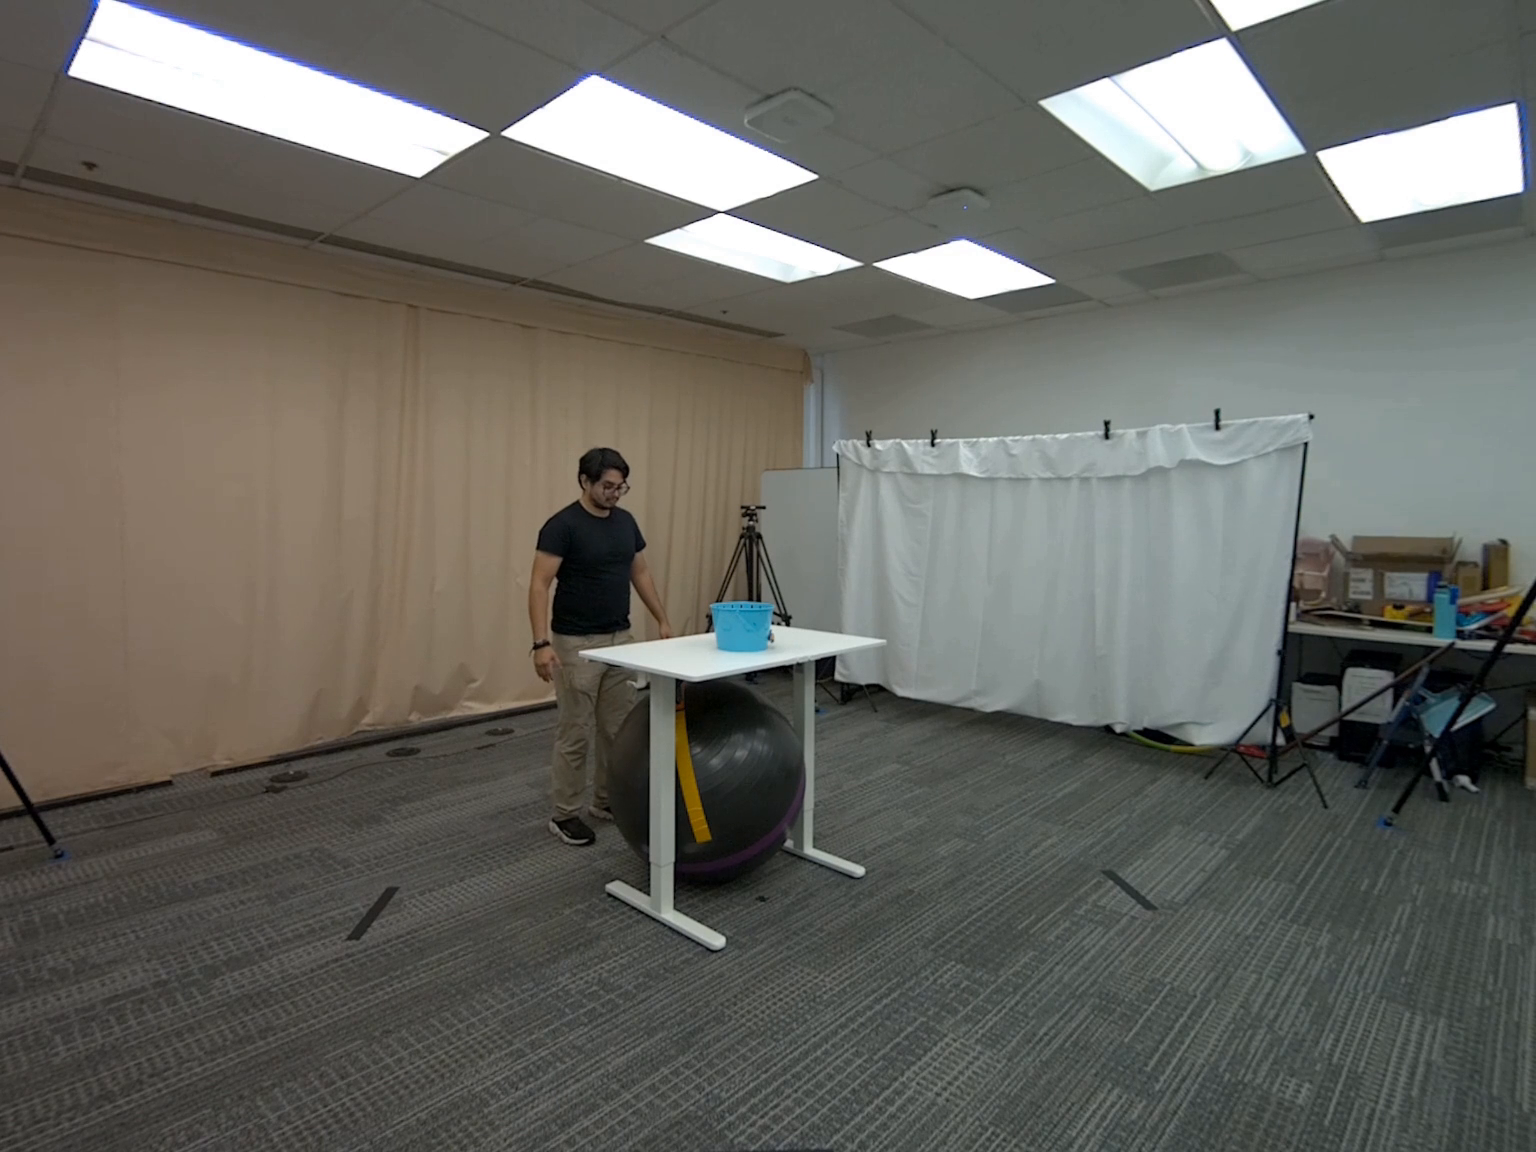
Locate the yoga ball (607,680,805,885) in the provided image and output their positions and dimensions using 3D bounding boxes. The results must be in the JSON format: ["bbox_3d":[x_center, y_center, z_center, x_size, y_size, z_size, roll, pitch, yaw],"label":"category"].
[{"bbox_3d":[-0.241,0.769,3.213,0.757,0.756,0.760,0,4,-2],"label":"yoga ball"}]
